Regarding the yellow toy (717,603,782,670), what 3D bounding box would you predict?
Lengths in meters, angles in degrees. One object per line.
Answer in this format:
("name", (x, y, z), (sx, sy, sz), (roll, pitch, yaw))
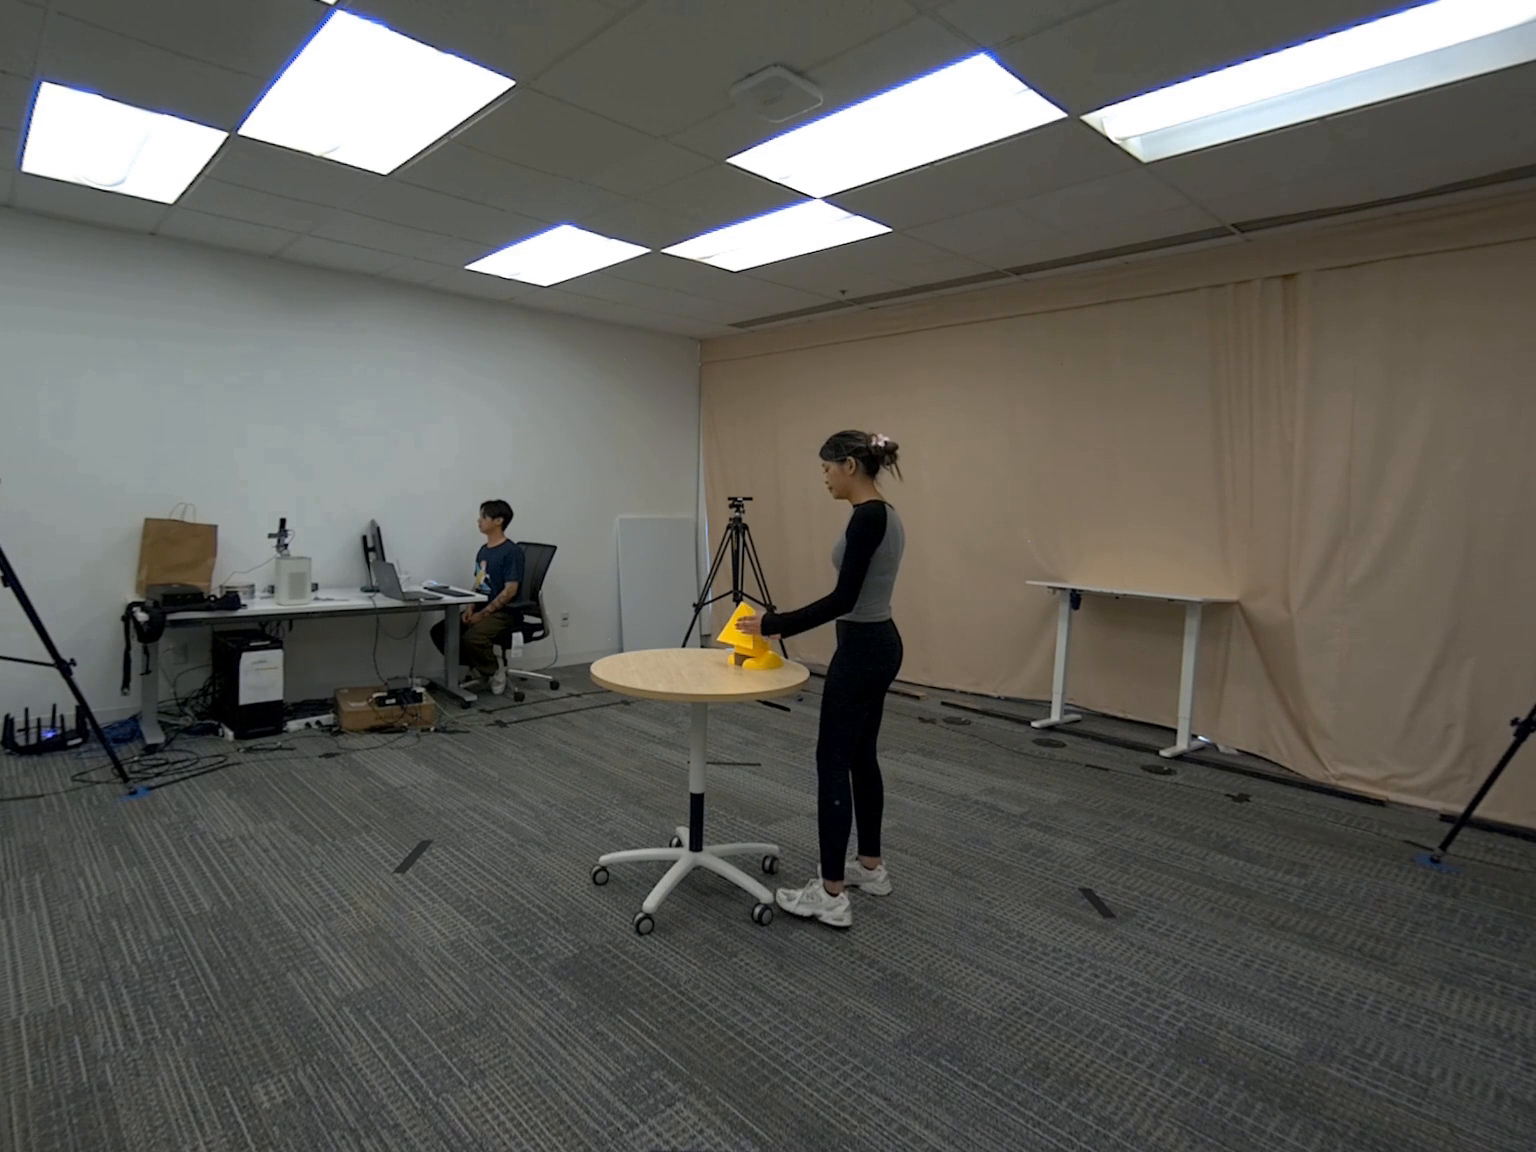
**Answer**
("yellow toy", (-0.054, 0.206, 3.059), (0.188, 0.230, 0.210), (0, 4, -40))
